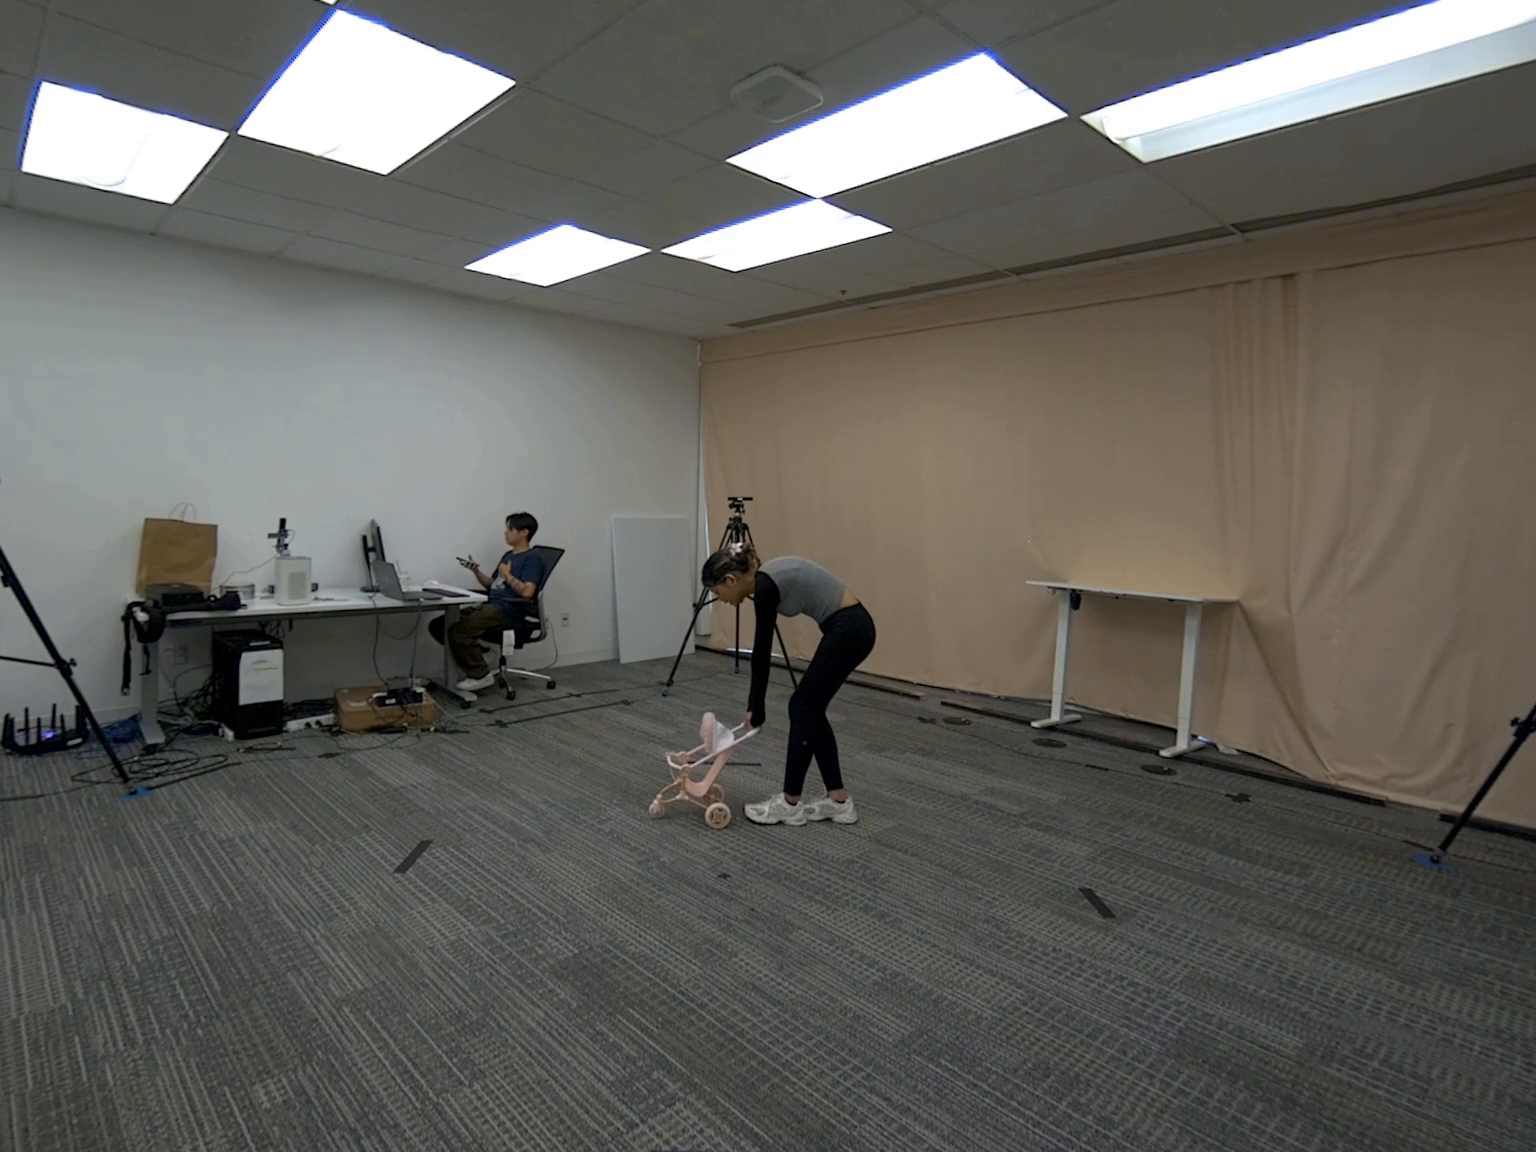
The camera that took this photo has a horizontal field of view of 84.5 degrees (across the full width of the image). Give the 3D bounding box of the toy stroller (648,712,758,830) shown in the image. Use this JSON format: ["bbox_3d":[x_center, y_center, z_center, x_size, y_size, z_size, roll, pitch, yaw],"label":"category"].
[{"bbox_3d":[-0.294,0.832,3.665,0.340,0.535,0.283,19,1,-5],"label":"toy stroller"}]
